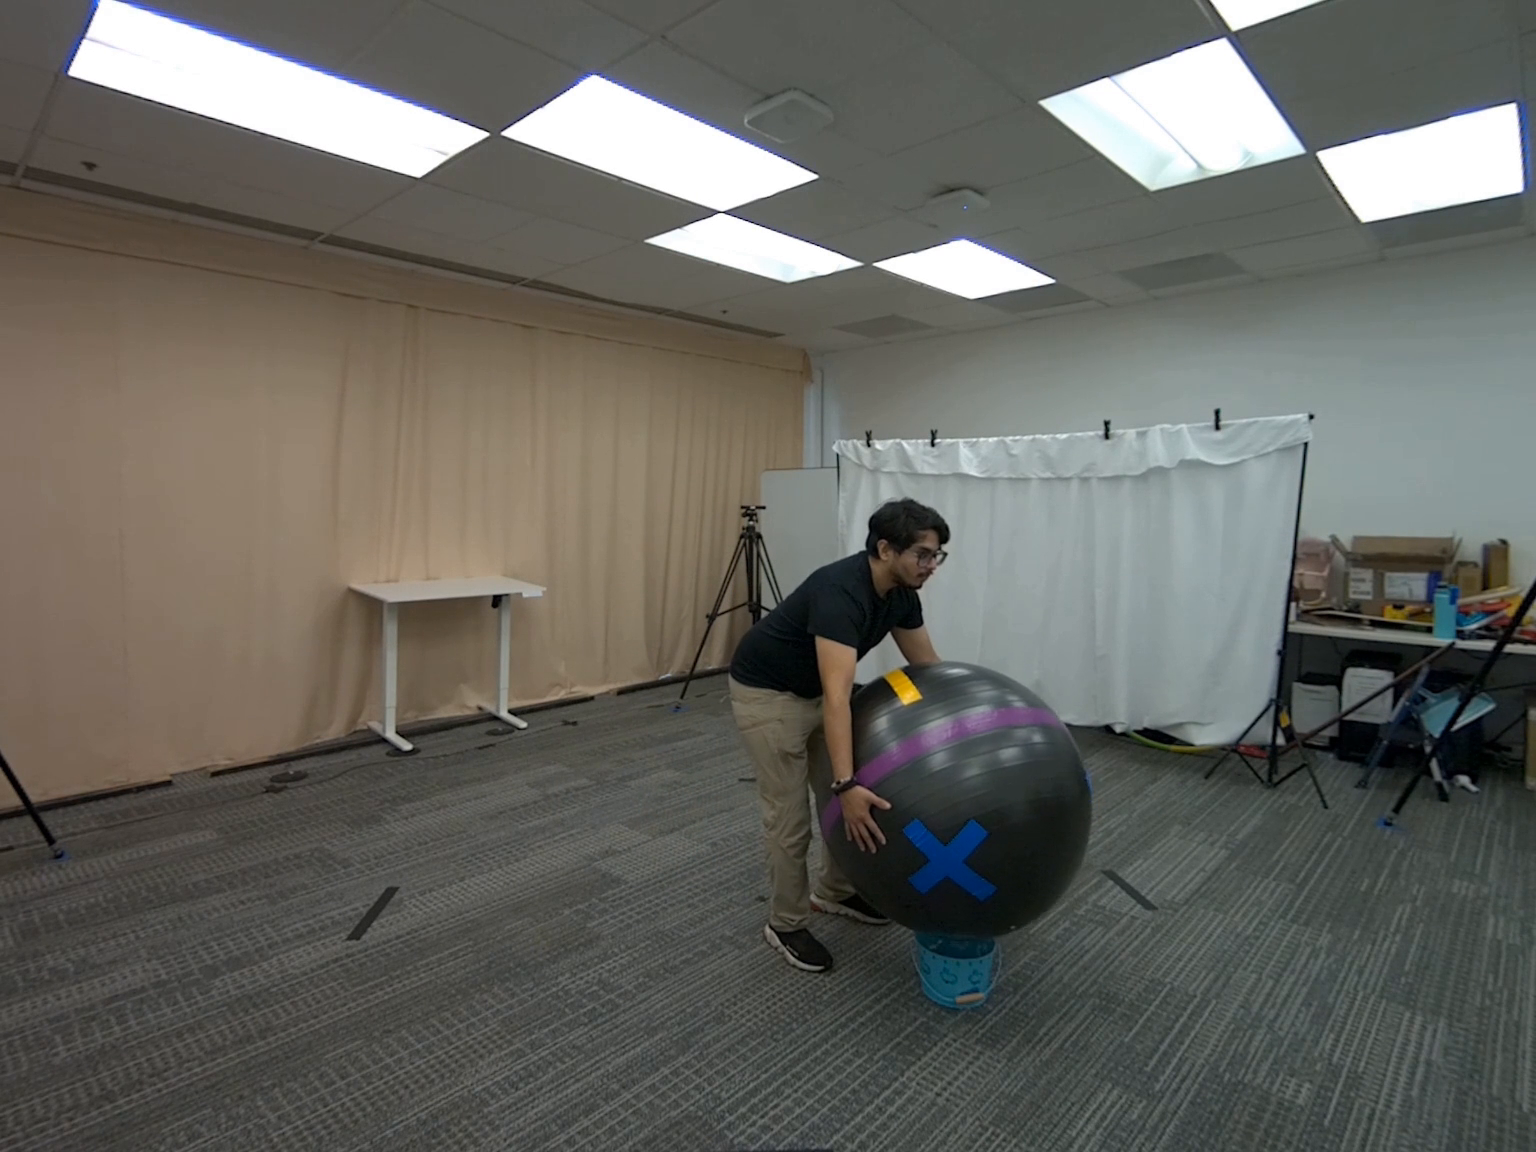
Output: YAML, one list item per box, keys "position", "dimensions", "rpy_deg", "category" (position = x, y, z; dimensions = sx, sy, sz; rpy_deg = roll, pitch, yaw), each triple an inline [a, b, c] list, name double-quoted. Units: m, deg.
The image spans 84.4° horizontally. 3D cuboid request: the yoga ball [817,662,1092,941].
- position: [0.521, 0.631, 2.406]
  dimensions: [0.757, 0.756, 0.760]
  rpy_deg: [0, 4, -2]
  category: "yoga ball"
